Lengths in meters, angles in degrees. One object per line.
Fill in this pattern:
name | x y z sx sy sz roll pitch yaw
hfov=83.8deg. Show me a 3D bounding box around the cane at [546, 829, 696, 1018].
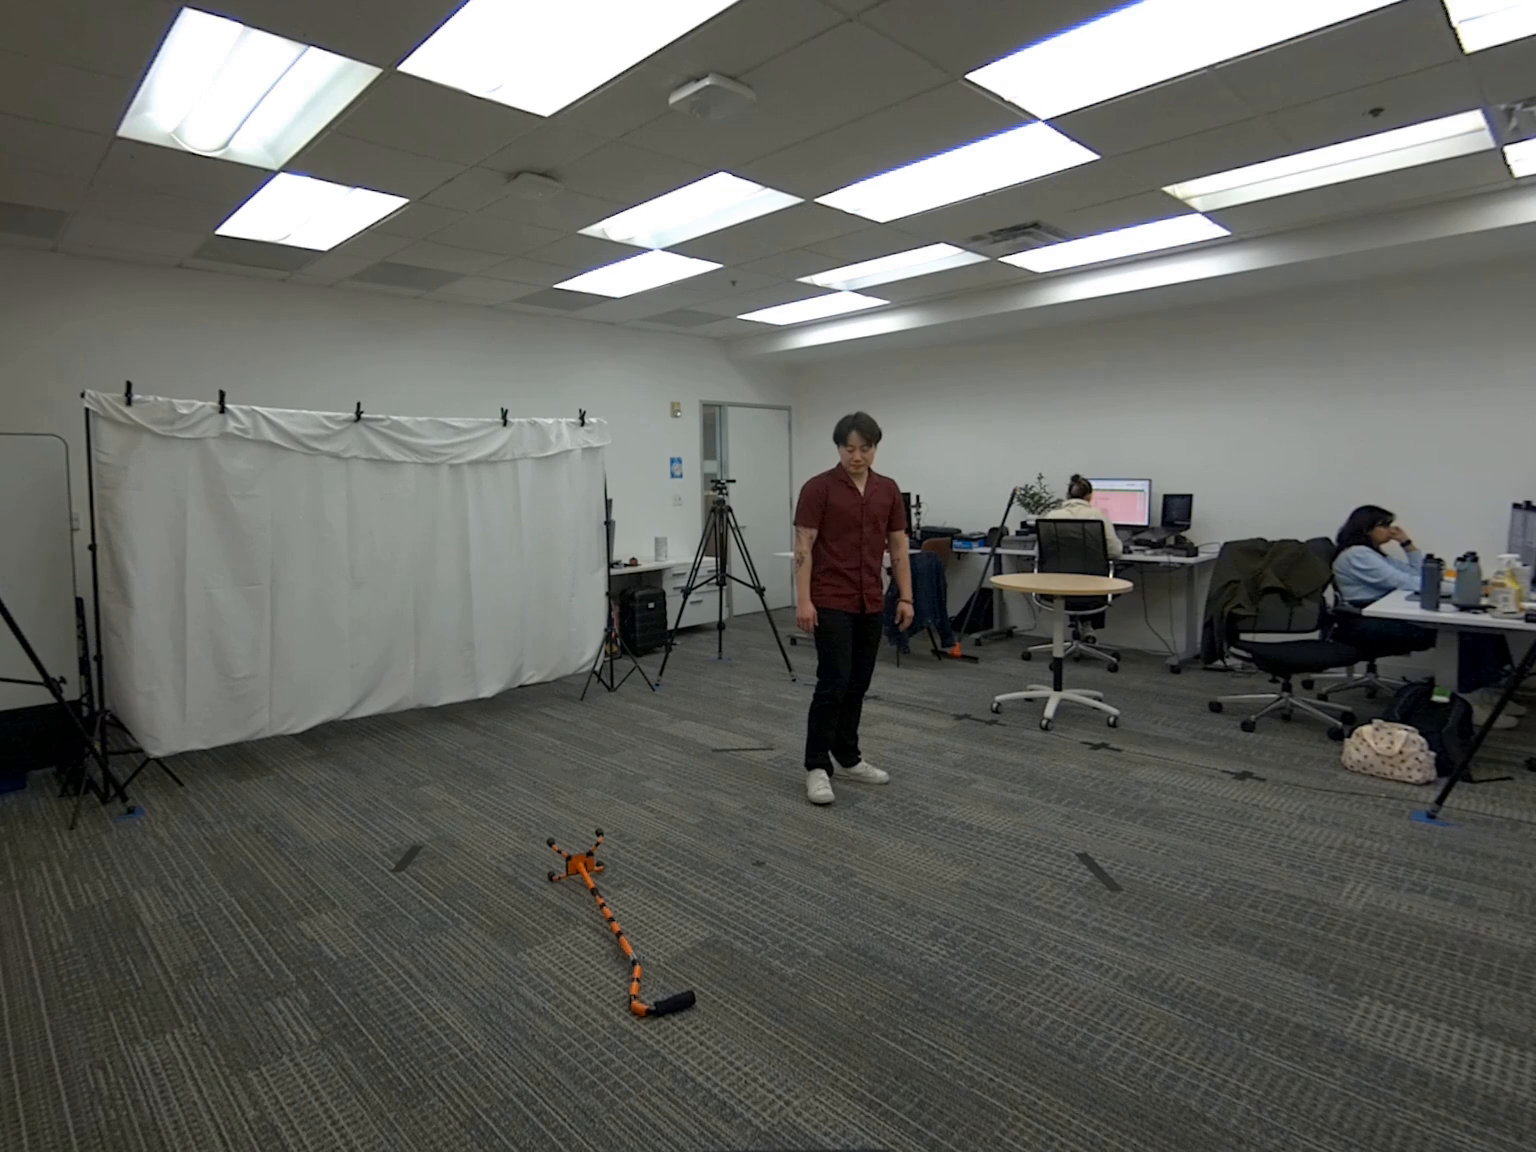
cane | -0.479 1.054 2.644 0.202 0.150 0.934 -7 11 -25
